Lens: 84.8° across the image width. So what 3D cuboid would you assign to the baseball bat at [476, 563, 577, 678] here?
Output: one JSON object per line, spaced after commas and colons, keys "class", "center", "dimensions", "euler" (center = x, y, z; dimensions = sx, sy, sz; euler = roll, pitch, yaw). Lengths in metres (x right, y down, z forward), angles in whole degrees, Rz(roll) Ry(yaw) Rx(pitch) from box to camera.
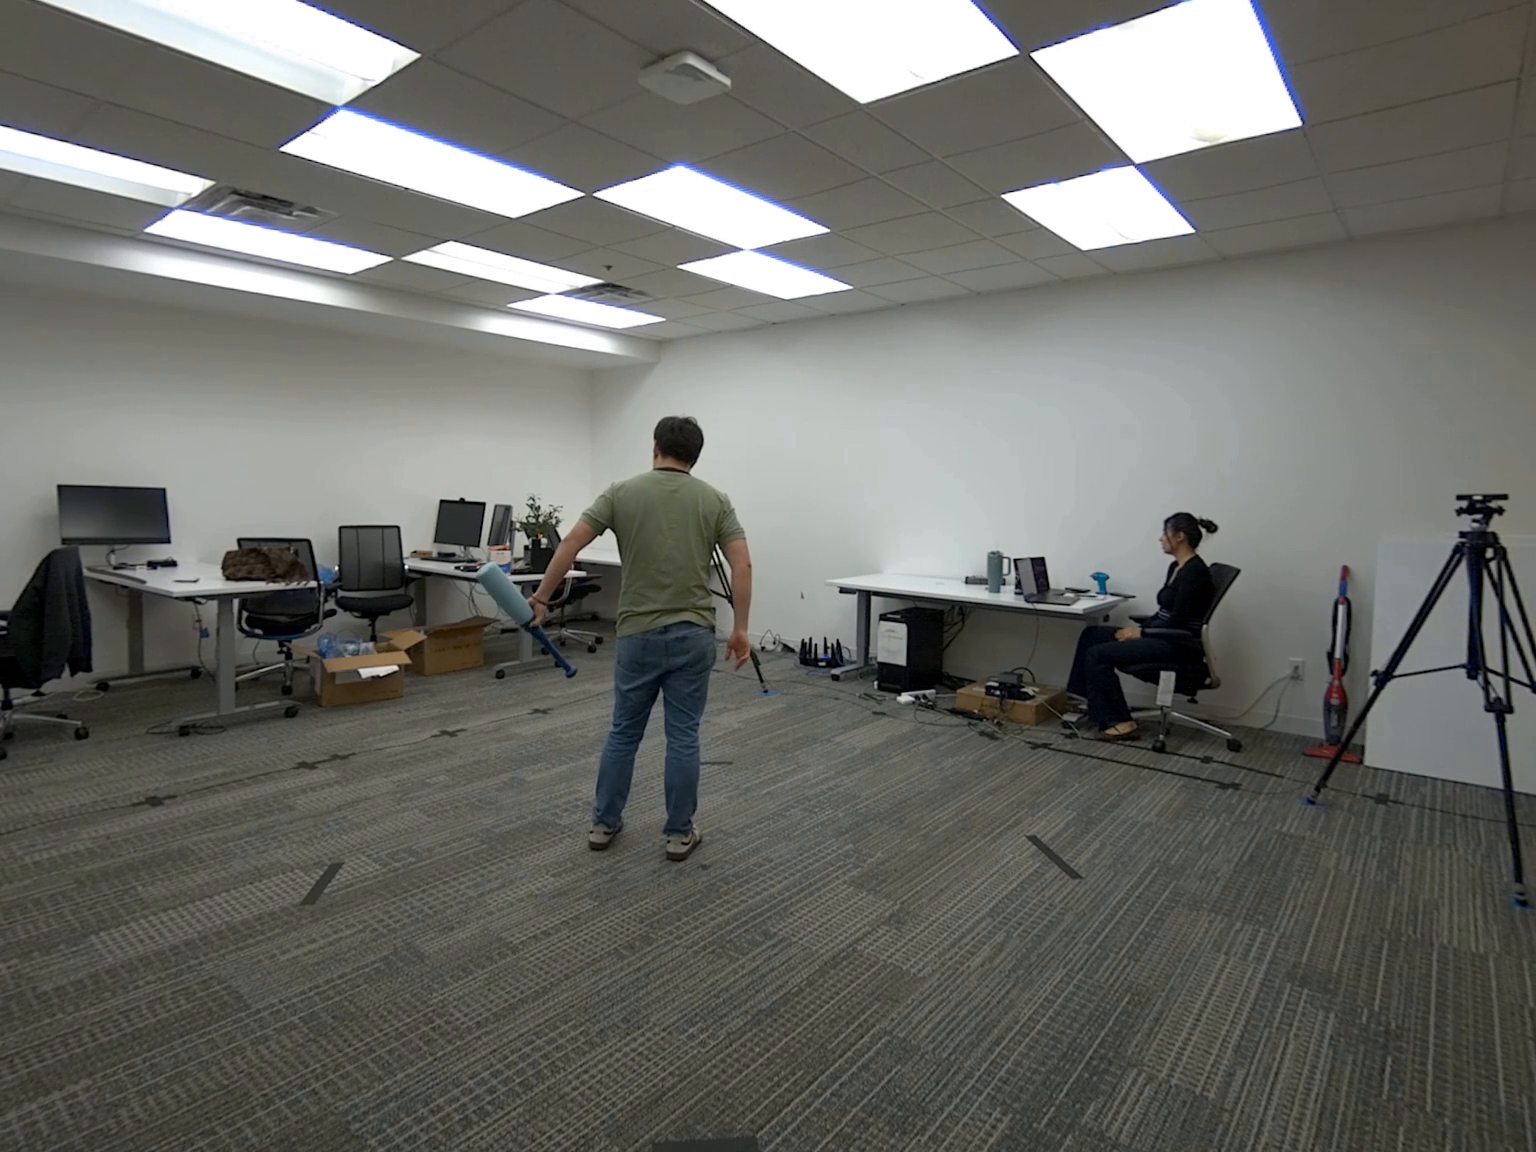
{"class": "baseball bat", "center": [-0.892, 0.170, 3.131], "dimensions": [0.089, 0.528, 0.091], "euler": [-30, 21, 12]}
